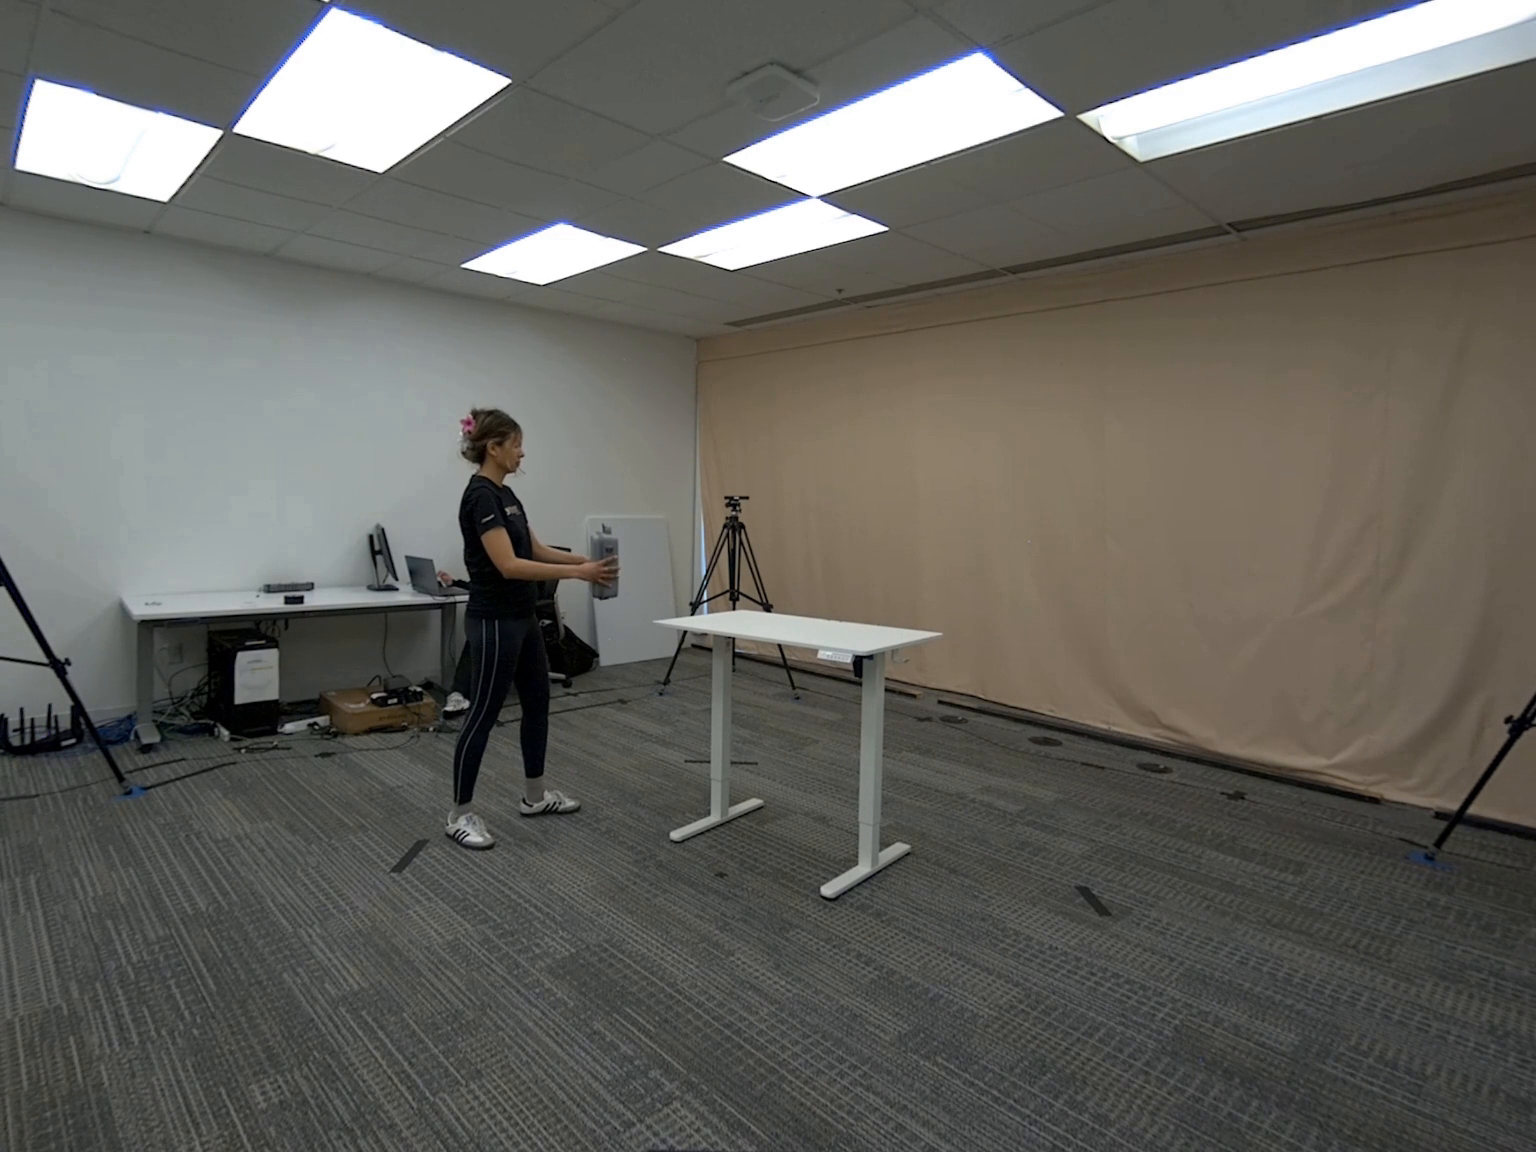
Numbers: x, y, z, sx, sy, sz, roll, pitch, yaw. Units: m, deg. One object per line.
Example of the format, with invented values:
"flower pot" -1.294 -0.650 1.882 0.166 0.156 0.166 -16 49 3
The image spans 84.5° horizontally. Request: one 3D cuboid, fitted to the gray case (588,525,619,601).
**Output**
"gray case" -0.674 -0.054 3.417 0.103 0.259 0.261 2 7 -15
